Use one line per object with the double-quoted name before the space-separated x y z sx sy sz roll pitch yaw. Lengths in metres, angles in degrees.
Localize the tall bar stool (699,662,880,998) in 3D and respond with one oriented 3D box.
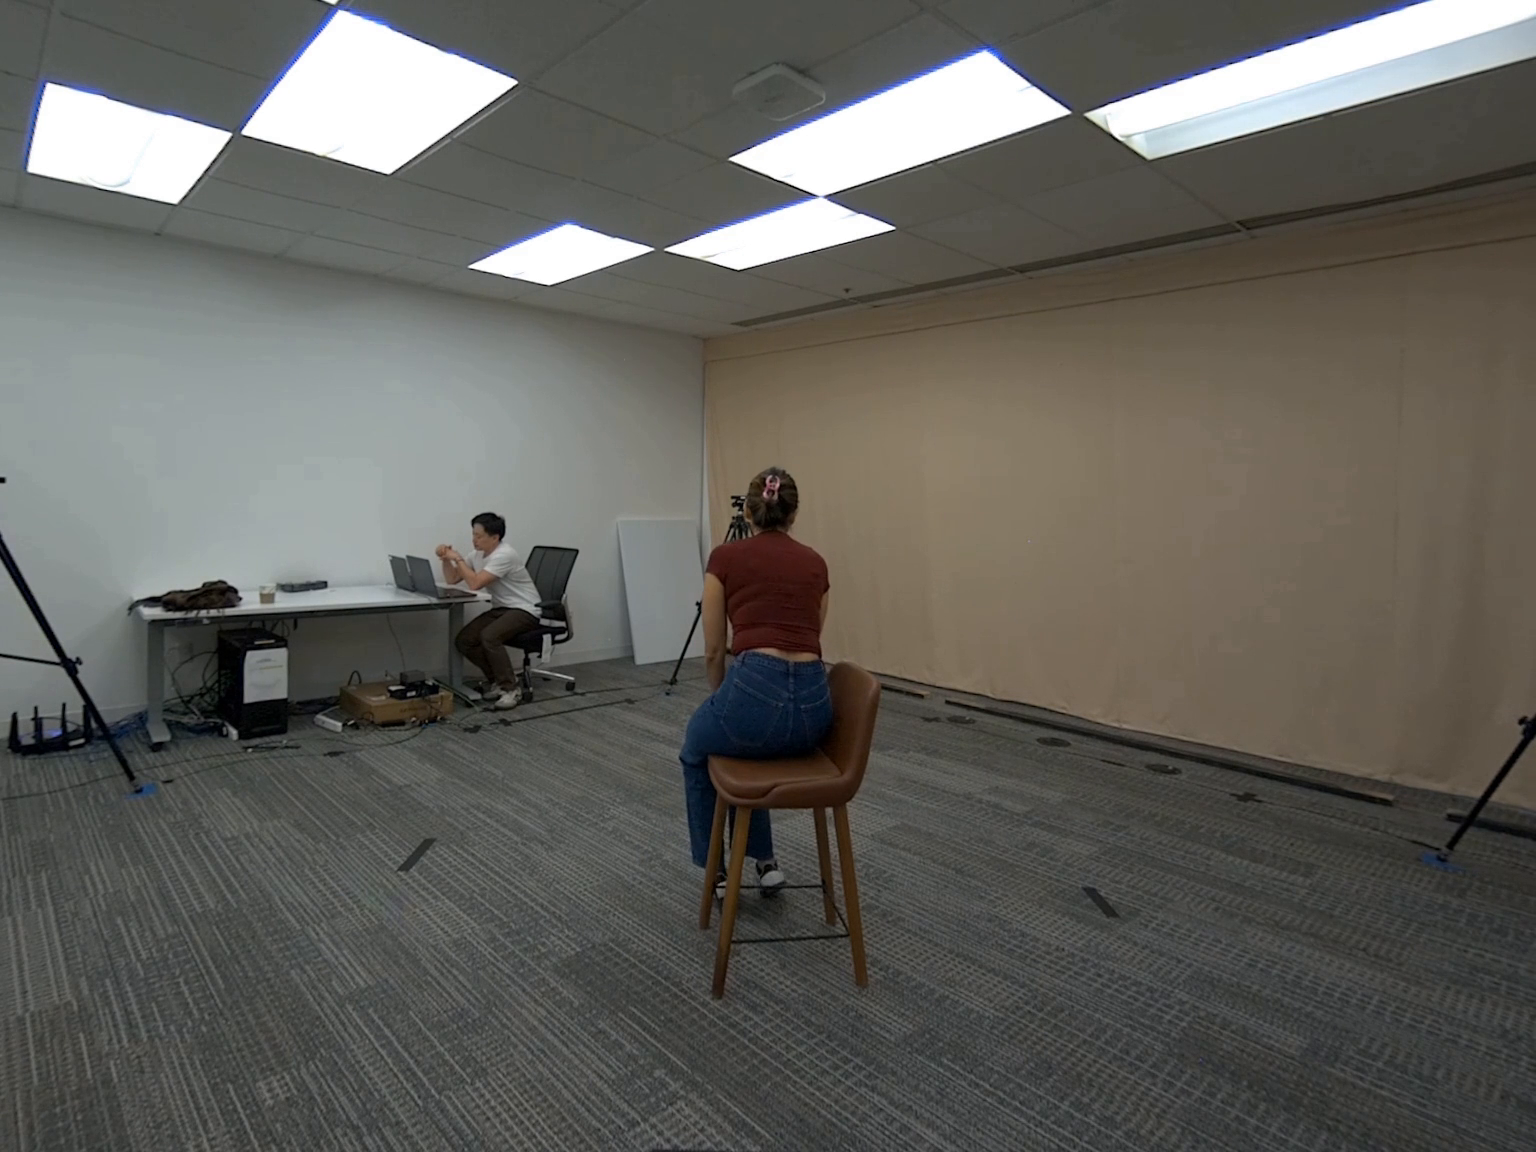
"tall bar stool" 0.054 0.729 2.524 0.464 0.887 0.461 2 4 -10
